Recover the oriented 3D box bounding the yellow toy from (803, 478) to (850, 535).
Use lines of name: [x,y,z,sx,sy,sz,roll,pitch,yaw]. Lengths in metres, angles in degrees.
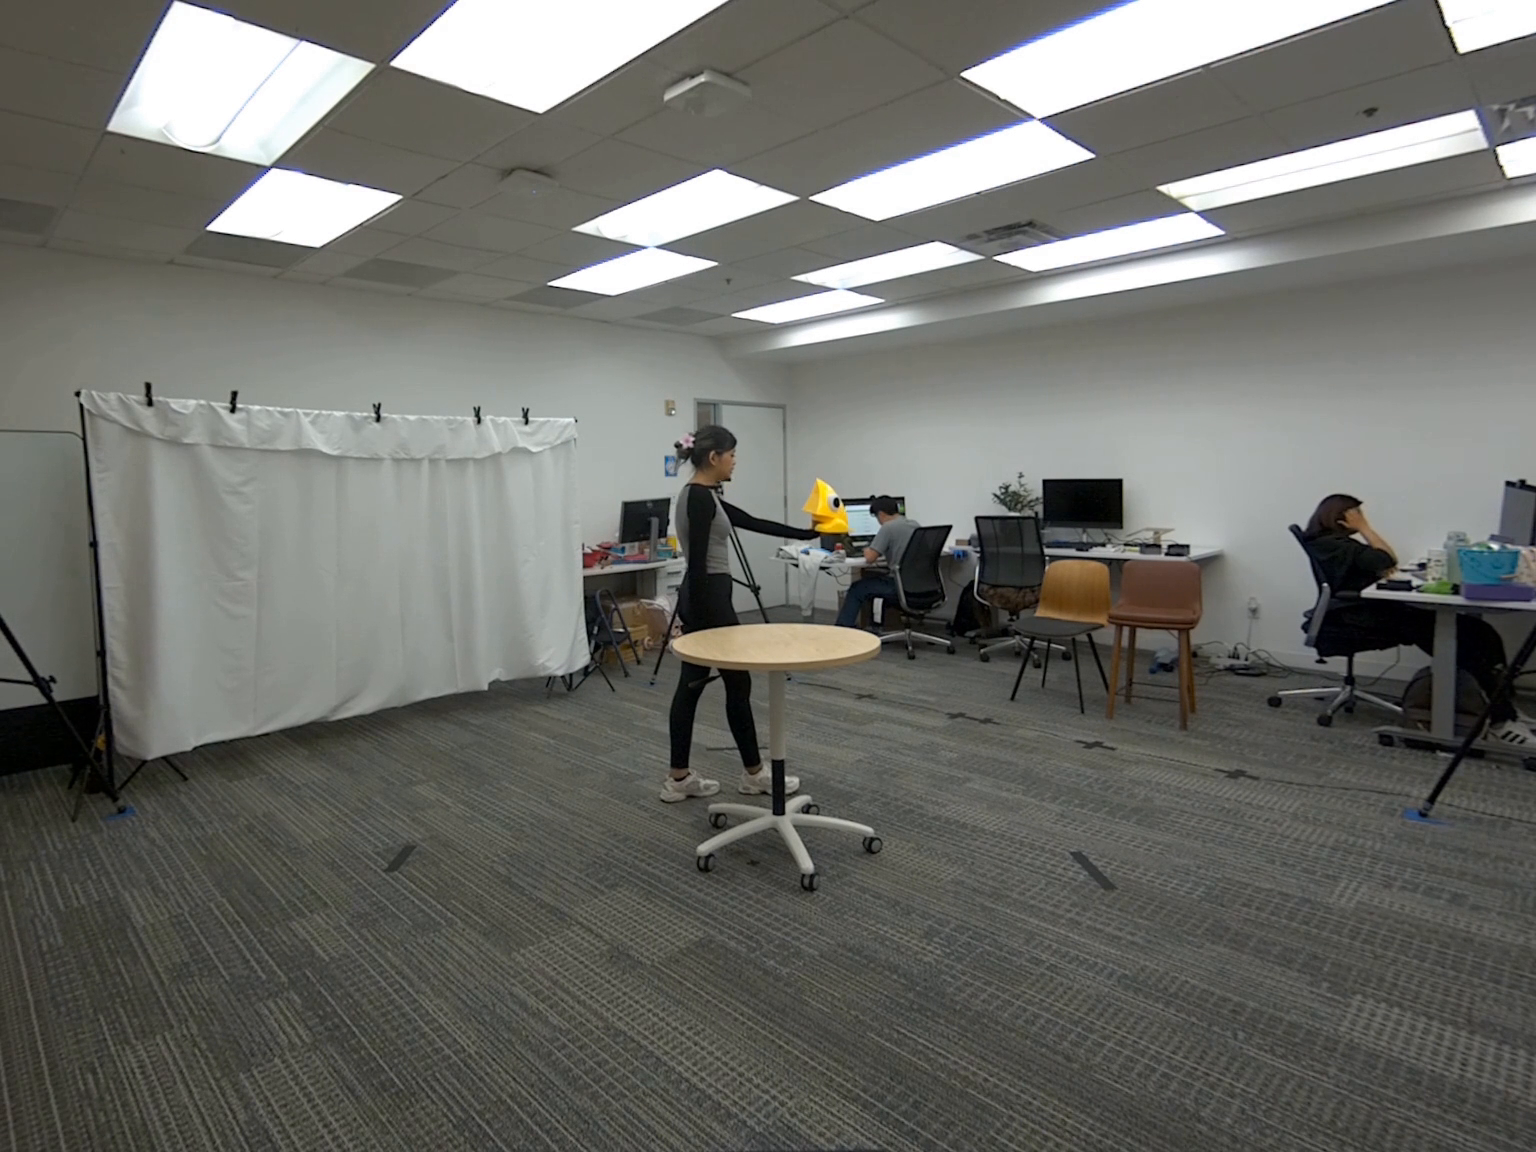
yellow toy: [0.270,-0.321,3.845,0.190,0.229,0.209,0,8,-15]
